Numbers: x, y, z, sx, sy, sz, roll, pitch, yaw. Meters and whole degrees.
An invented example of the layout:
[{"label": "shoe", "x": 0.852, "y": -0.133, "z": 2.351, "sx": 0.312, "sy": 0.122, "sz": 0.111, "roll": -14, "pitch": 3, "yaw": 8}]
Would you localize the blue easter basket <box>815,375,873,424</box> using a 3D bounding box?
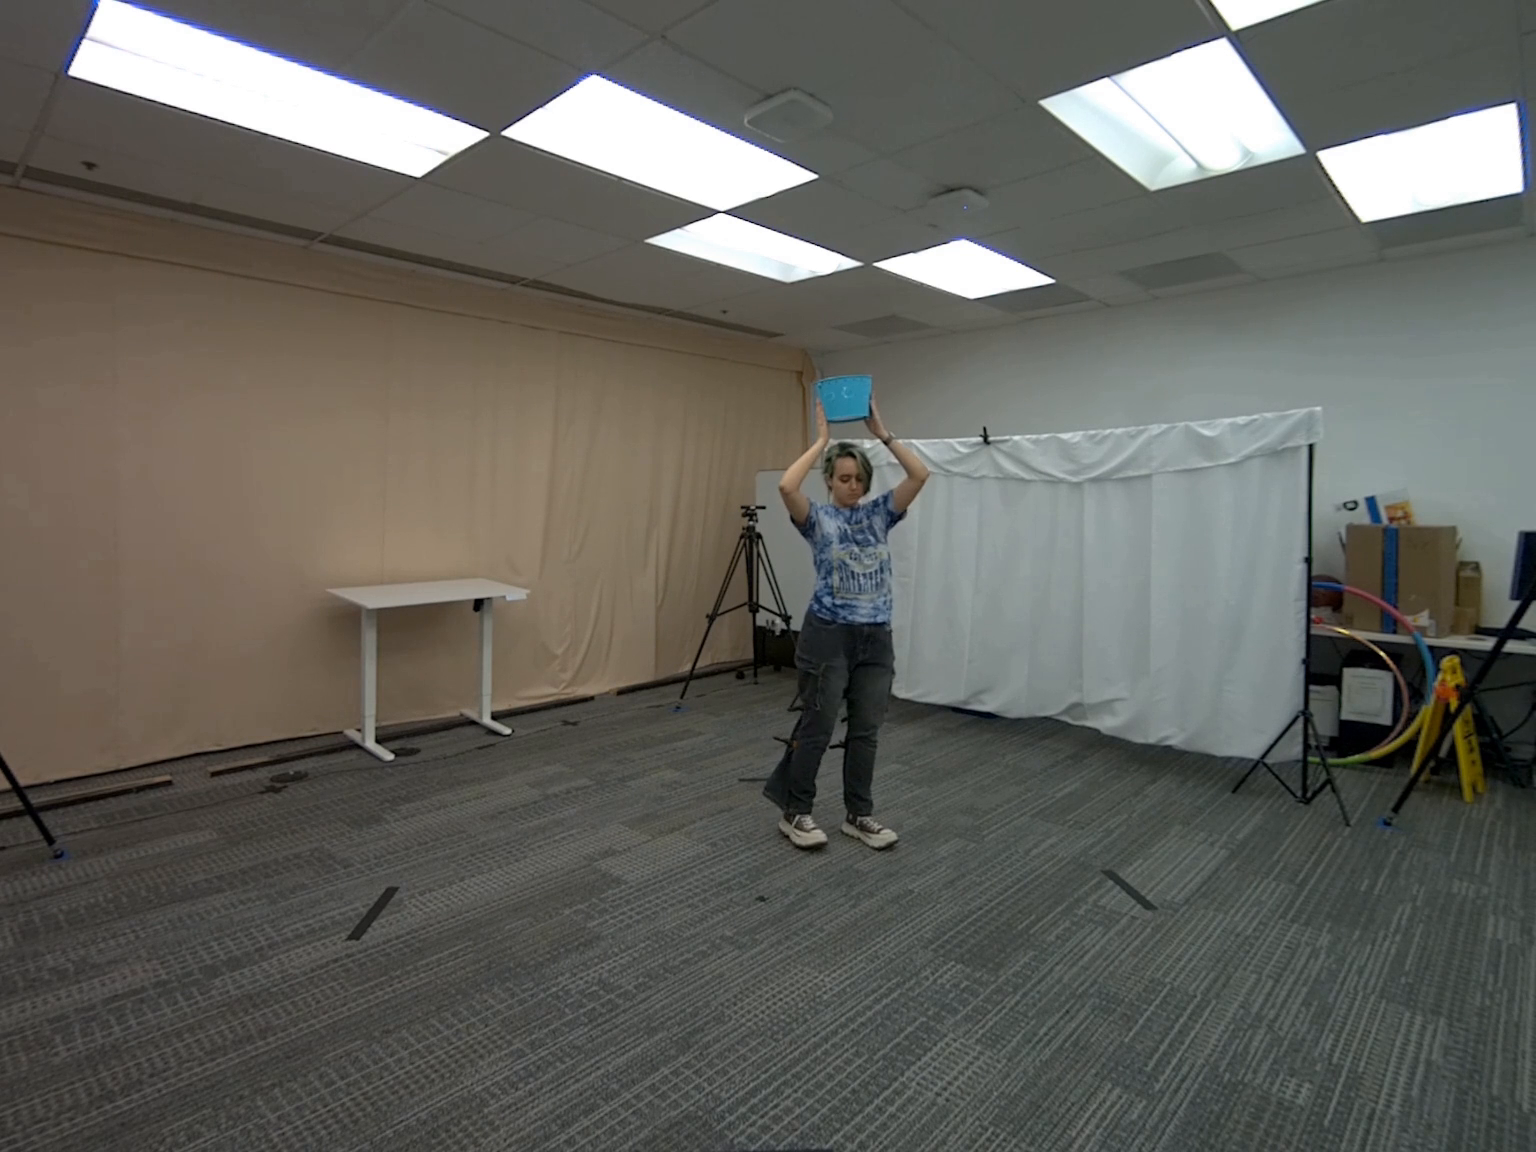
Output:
[{"label": "blue easter basket", "x": 0.312, "y": -0.698, "z": 3.336, "sx": 0.243, "sy": 0.155, "sz": 0.244, "roll": -5, "pitch": 3, "yaw": -2}]
